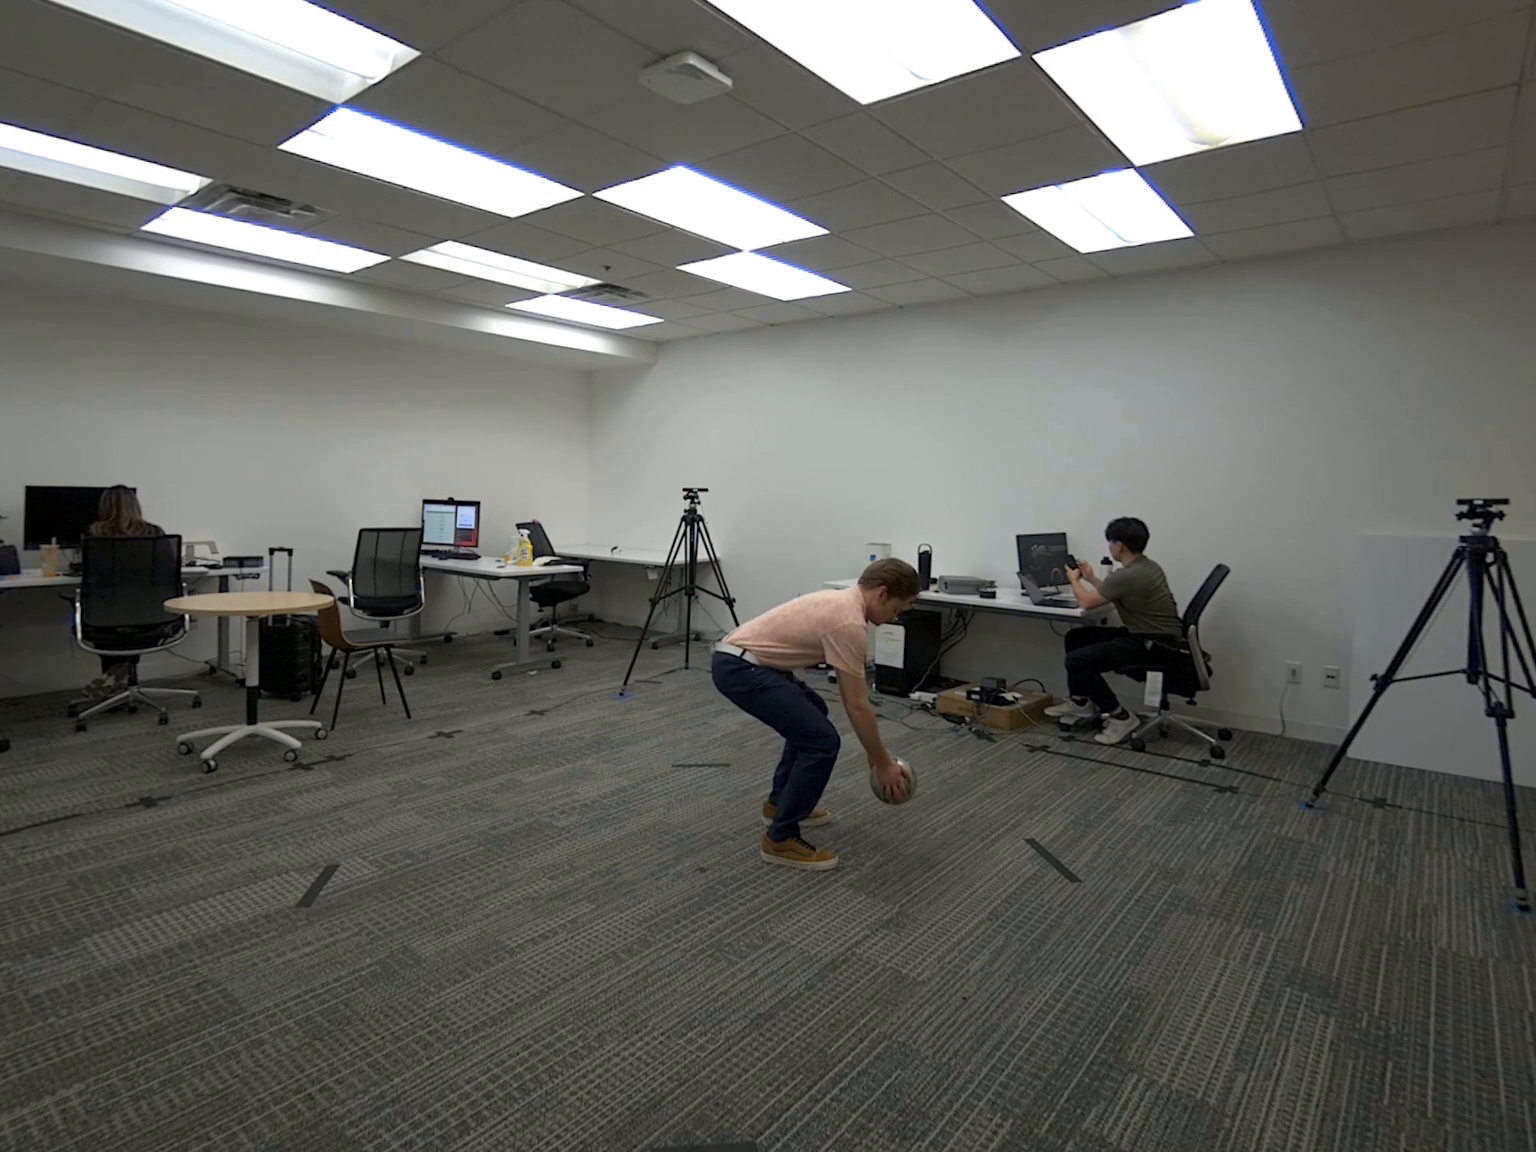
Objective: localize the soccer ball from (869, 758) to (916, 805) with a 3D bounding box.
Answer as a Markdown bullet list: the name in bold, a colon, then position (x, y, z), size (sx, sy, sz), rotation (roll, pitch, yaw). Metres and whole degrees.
- **soccer ball**: position (0.487, 0.794, 3.375), size (0.187, 0.187, 0.188), rotation (1, 4, -2)
